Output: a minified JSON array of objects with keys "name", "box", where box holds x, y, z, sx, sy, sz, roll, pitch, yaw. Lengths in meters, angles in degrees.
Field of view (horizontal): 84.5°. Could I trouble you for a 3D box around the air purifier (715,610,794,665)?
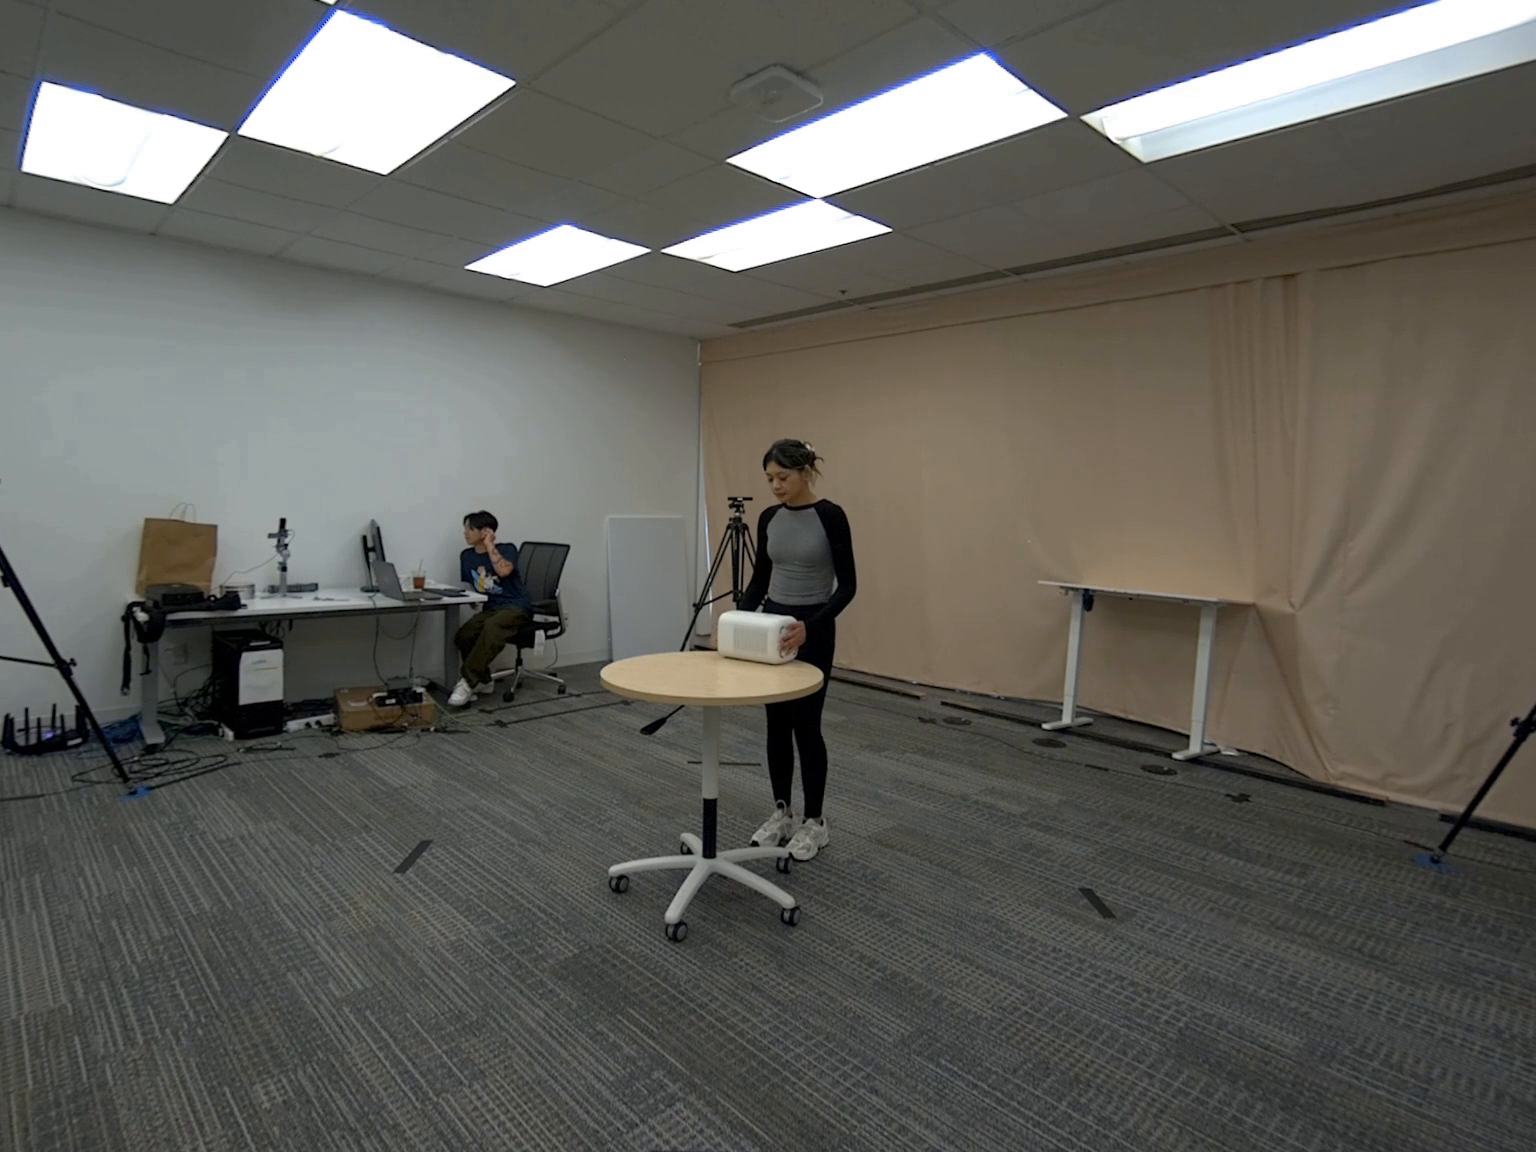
[{"name":"air purifier","box":[-0.046,0.226,3.120,0.272,0.171,0.167,4,4,35]}]
